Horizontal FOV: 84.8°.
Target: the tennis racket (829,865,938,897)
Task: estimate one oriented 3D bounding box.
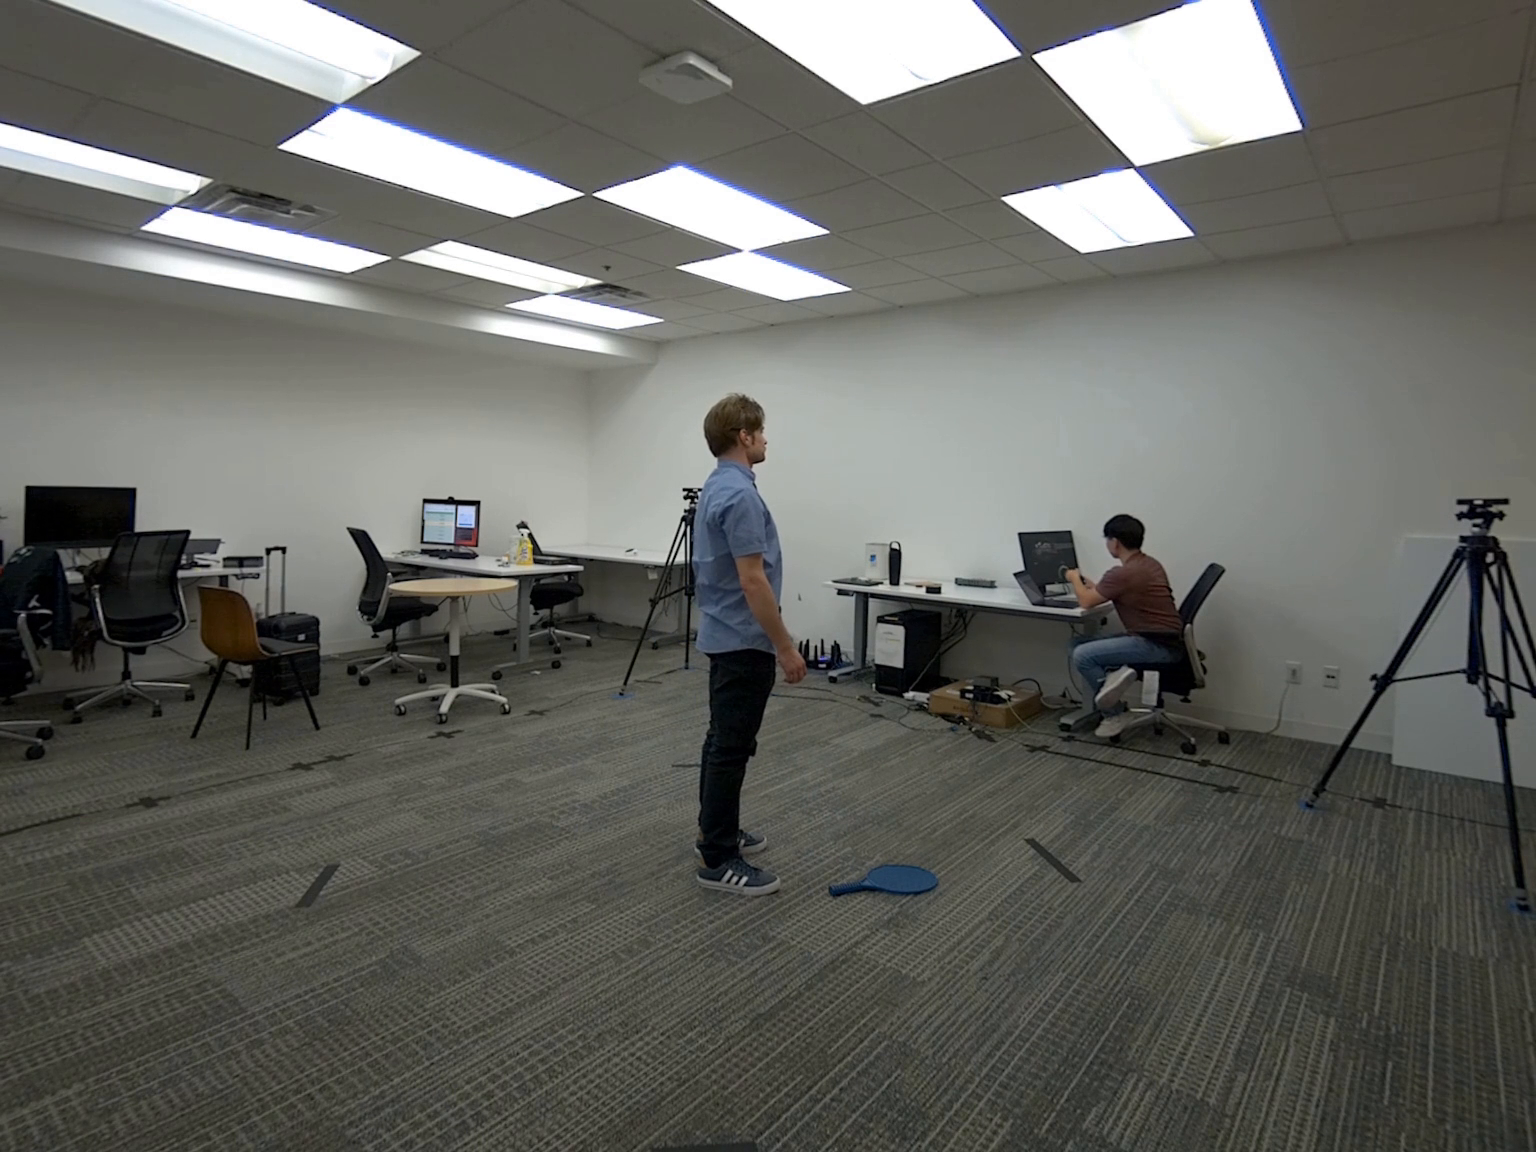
[{"bbox_3d":[0.400,1.077,3.015,0.422,0.031,0.220,0,6,-27],"label":"tennis racket"}]
